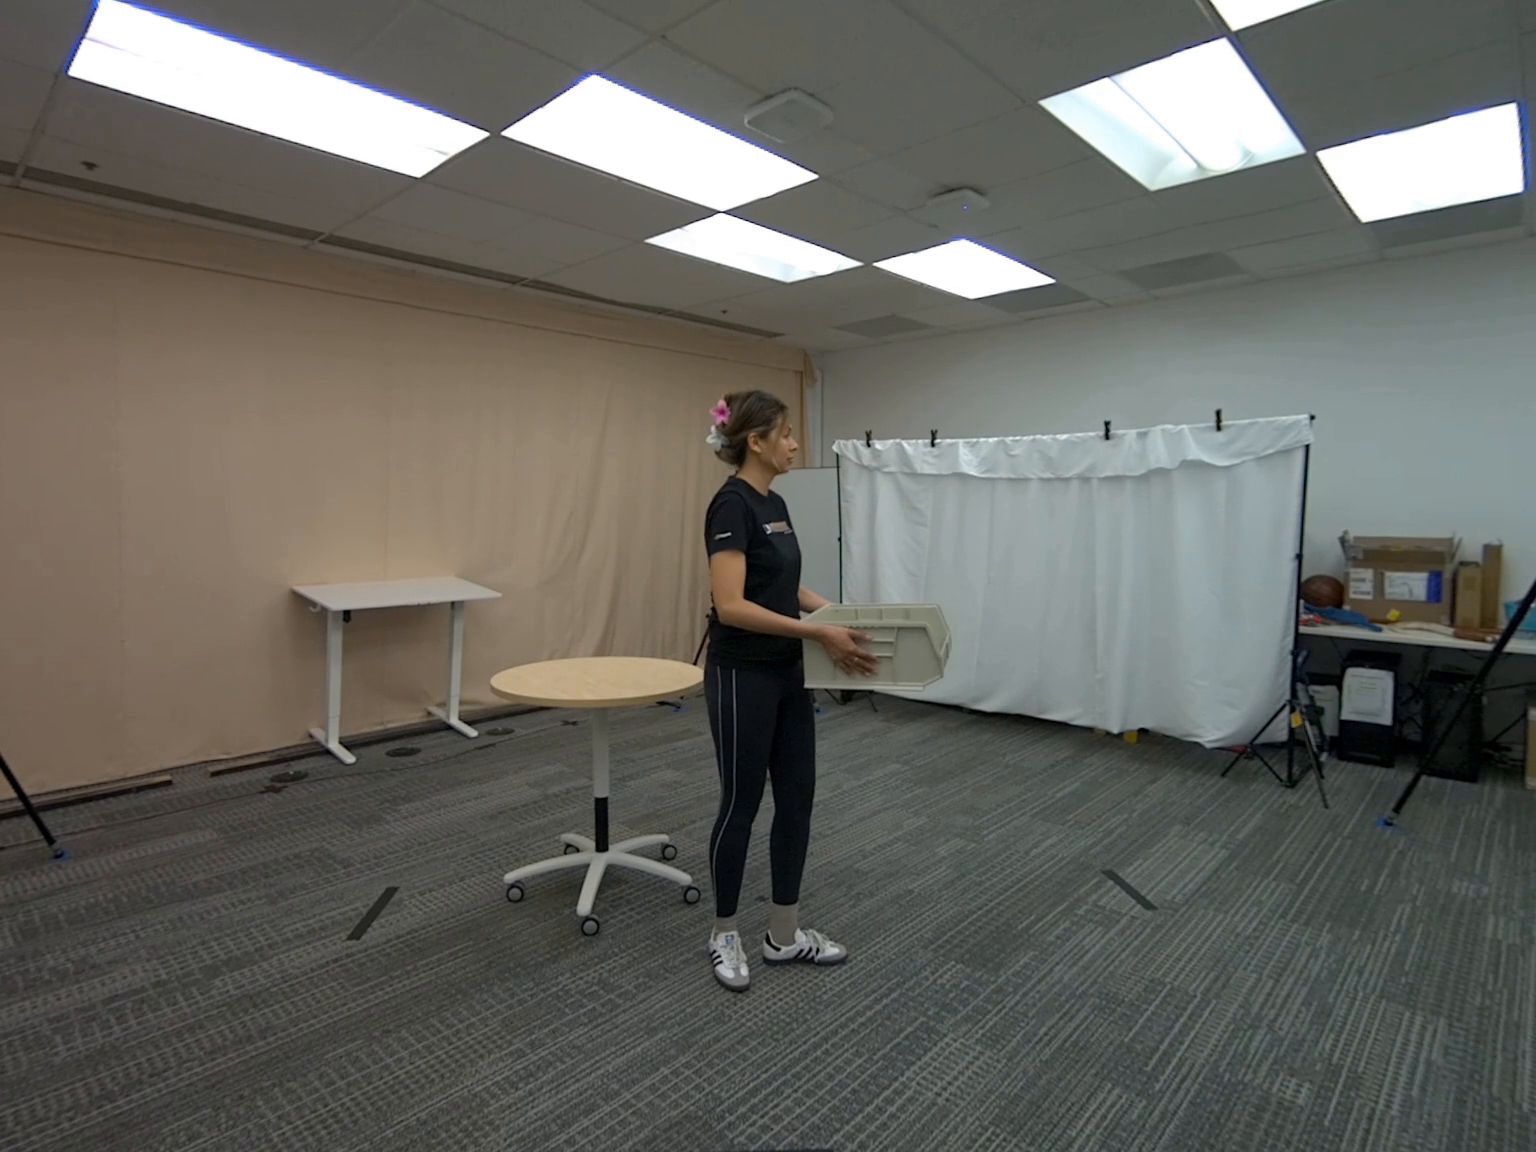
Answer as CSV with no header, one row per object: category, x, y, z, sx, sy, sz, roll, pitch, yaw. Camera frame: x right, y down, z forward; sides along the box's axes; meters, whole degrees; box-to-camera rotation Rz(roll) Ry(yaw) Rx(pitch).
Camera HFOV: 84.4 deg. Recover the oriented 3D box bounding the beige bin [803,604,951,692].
beige bin,0.327,0.197,2.392,0.384,0.188,0.416,-3,4,16
